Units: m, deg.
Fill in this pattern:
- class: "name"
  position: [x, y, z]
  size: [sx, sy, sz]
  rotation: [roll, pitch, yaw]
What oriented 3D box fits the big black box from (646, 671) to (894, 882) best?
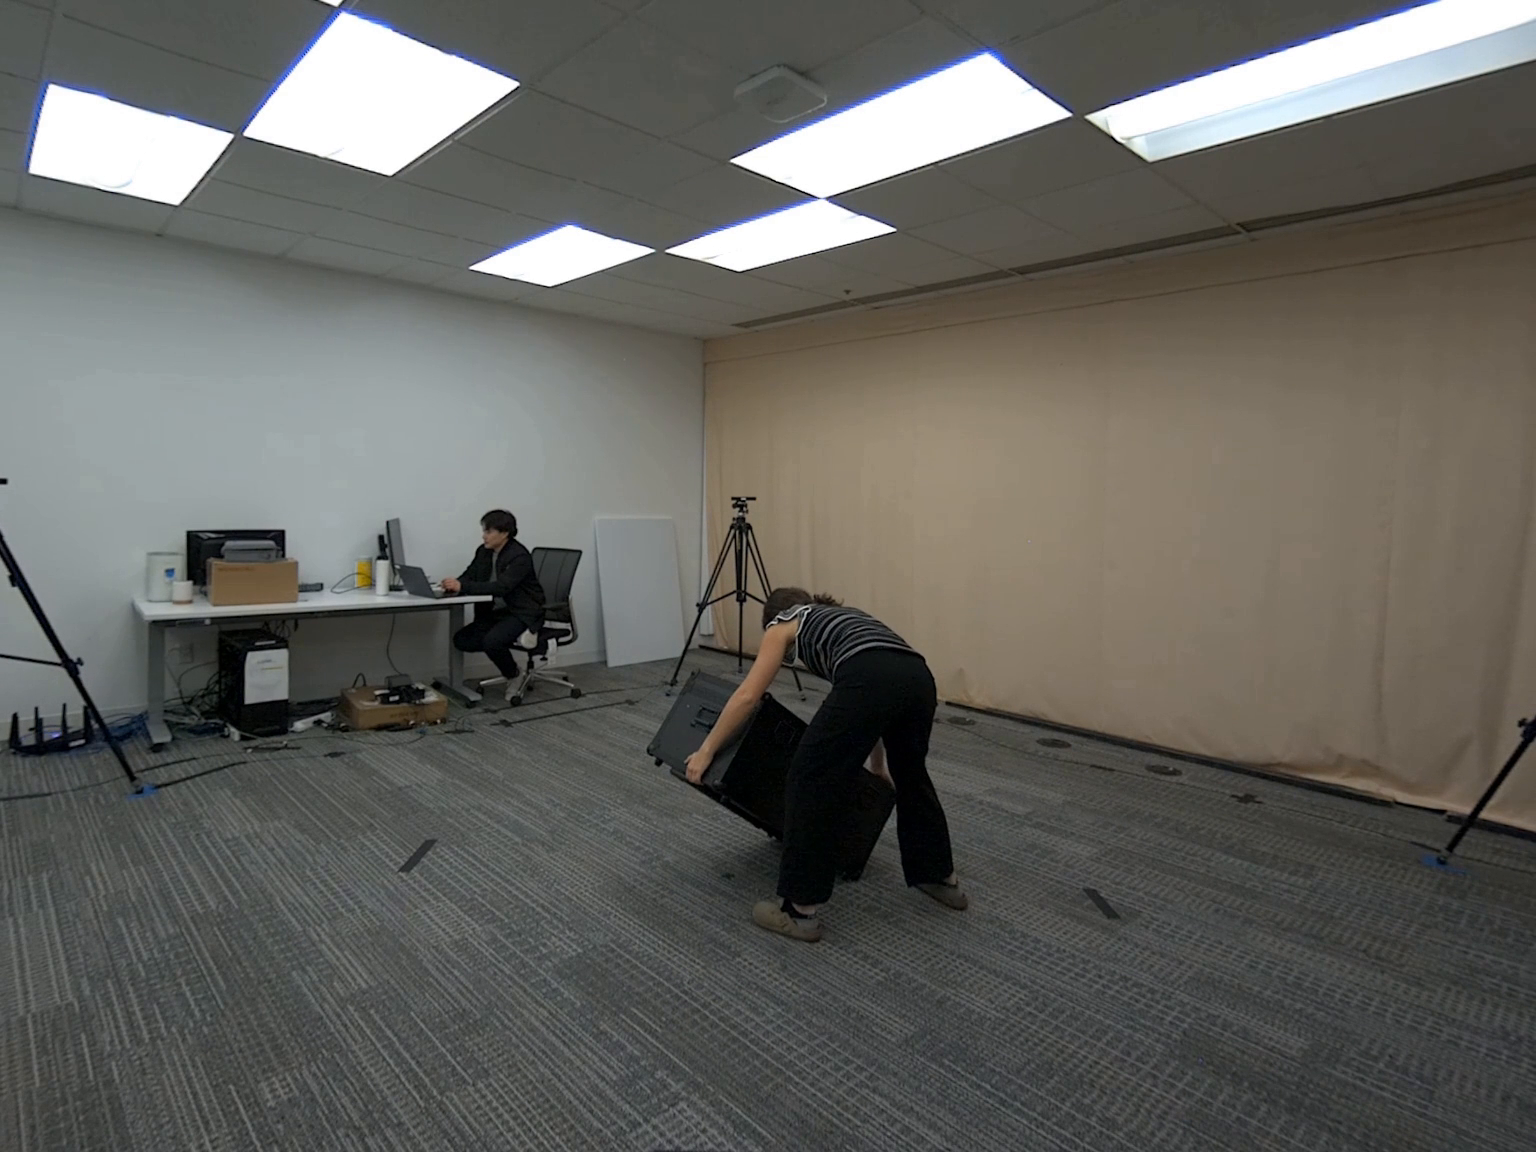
- class: "big black box"
  position: [0.034, 0.766, 3.165]
  size: [0.838, 0.397, 0.534]
  rotation: [40, -18, -30]
